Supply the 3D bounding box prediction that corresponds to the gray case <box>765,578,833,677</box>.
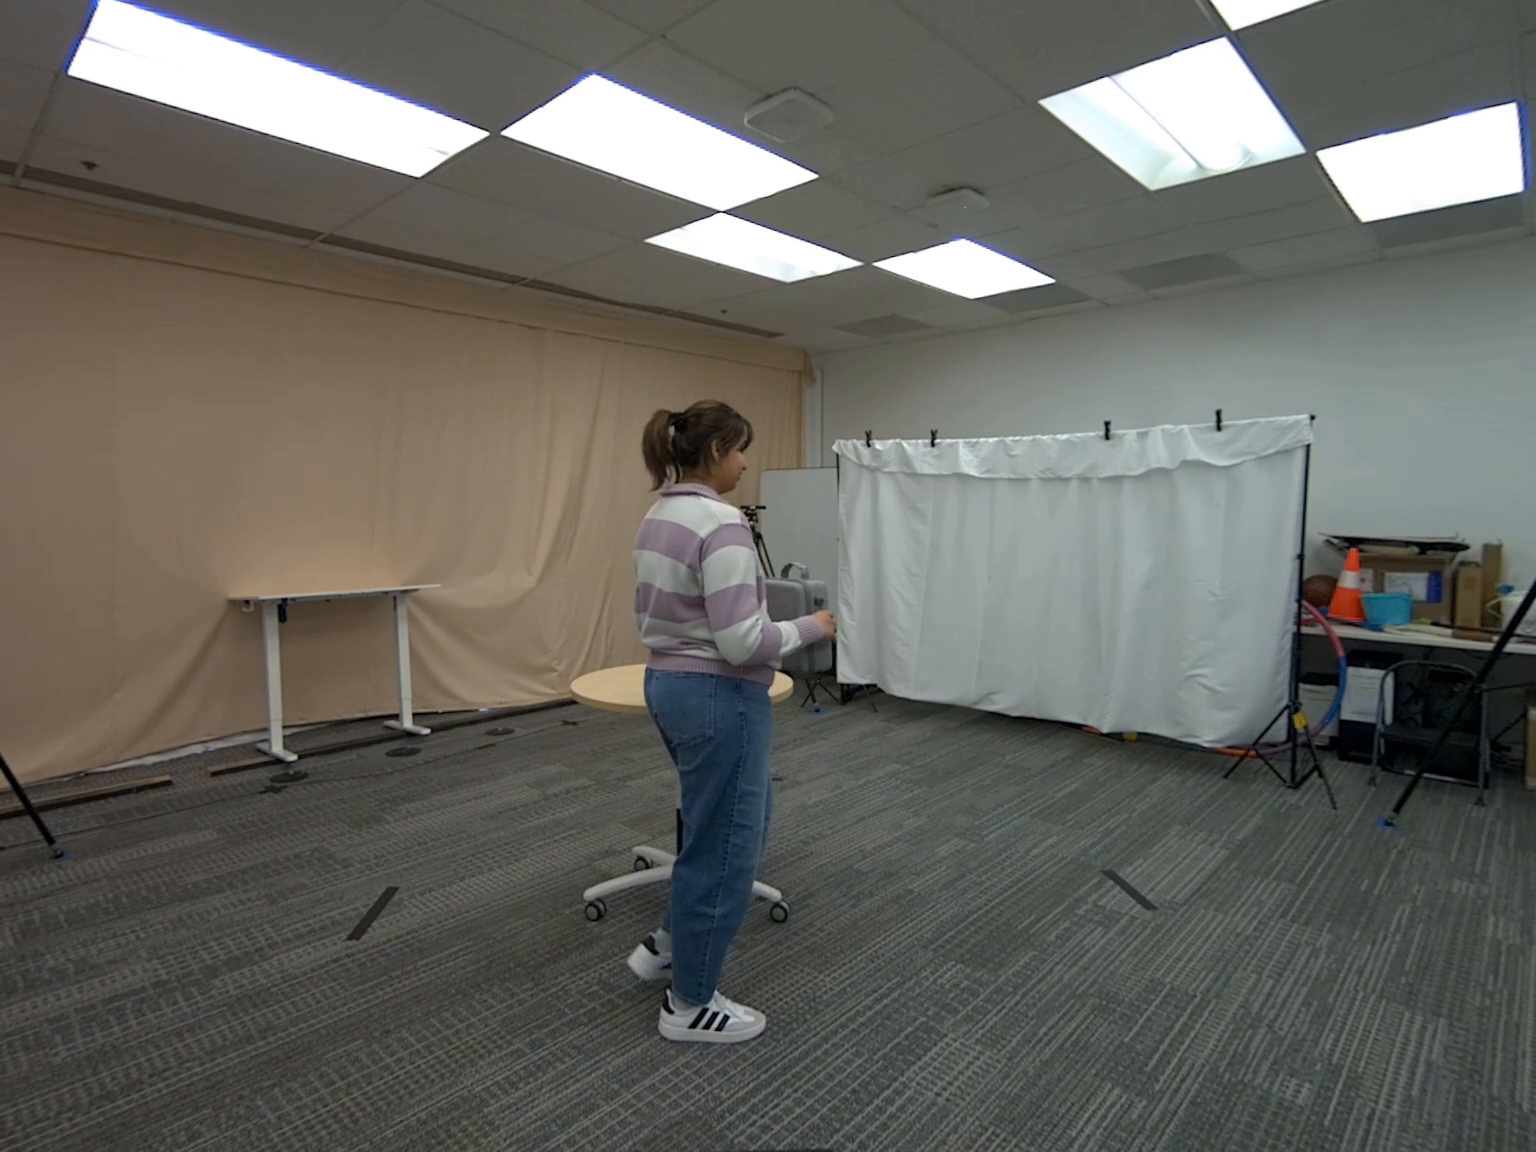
[{"bbox_3d":[0.070,0.130,2.346,0.101,0.260,0.264,-1,3,-30],"label":"gray case"}]
